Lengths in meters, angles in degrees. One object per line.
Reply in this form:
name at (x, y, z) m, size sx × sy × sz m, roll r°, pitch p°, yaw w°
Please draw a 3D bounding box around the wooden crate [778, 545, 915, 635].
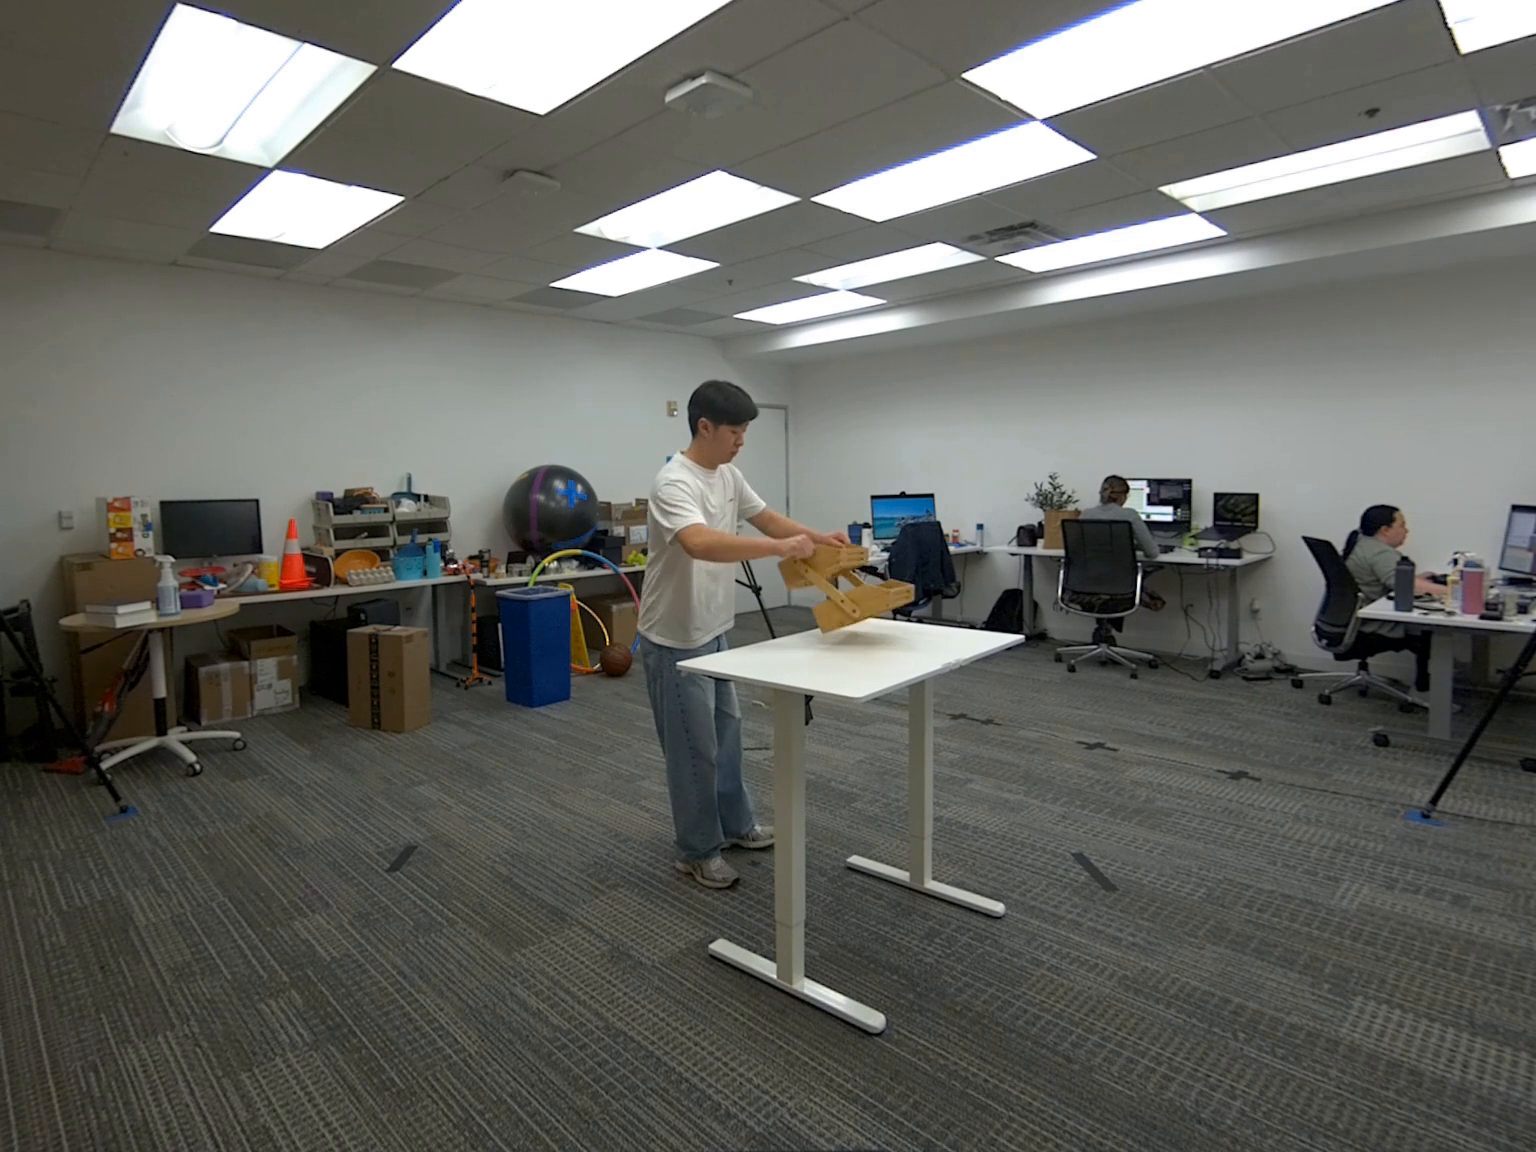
wooden crate at (0.252, 0.001, 2.730) m, size 0.305 × 0.276 × 0.317 m, roll -25°, pitch -9°, yaw 22°
